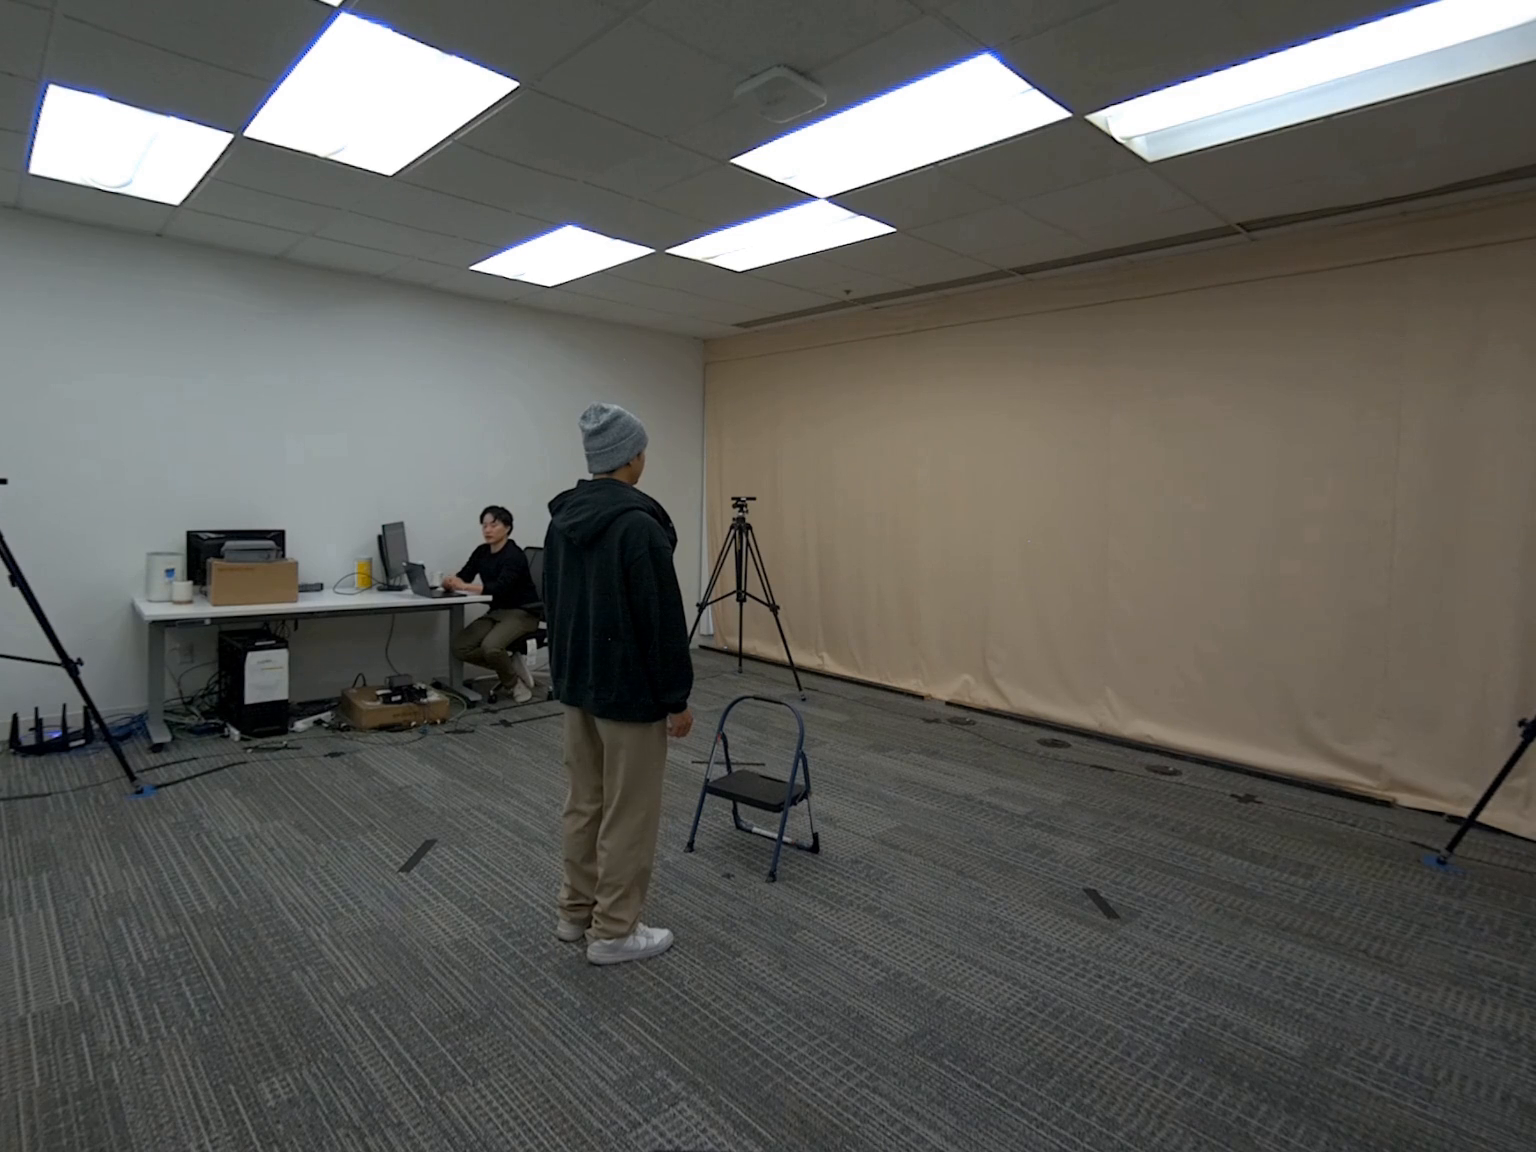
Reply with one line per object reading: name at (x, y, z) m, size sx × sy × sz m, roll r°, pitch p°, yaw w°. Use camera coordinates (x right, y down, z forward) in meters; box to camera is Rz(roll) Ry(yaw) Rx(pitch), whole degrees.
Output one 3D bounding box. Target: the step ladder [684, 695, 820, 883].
step ladder at (-0.056, 0.787, 3.305) m, size 0.441 × 0.604 × 0.342 m, roll 4°, pitch 4°, yaw 36°
